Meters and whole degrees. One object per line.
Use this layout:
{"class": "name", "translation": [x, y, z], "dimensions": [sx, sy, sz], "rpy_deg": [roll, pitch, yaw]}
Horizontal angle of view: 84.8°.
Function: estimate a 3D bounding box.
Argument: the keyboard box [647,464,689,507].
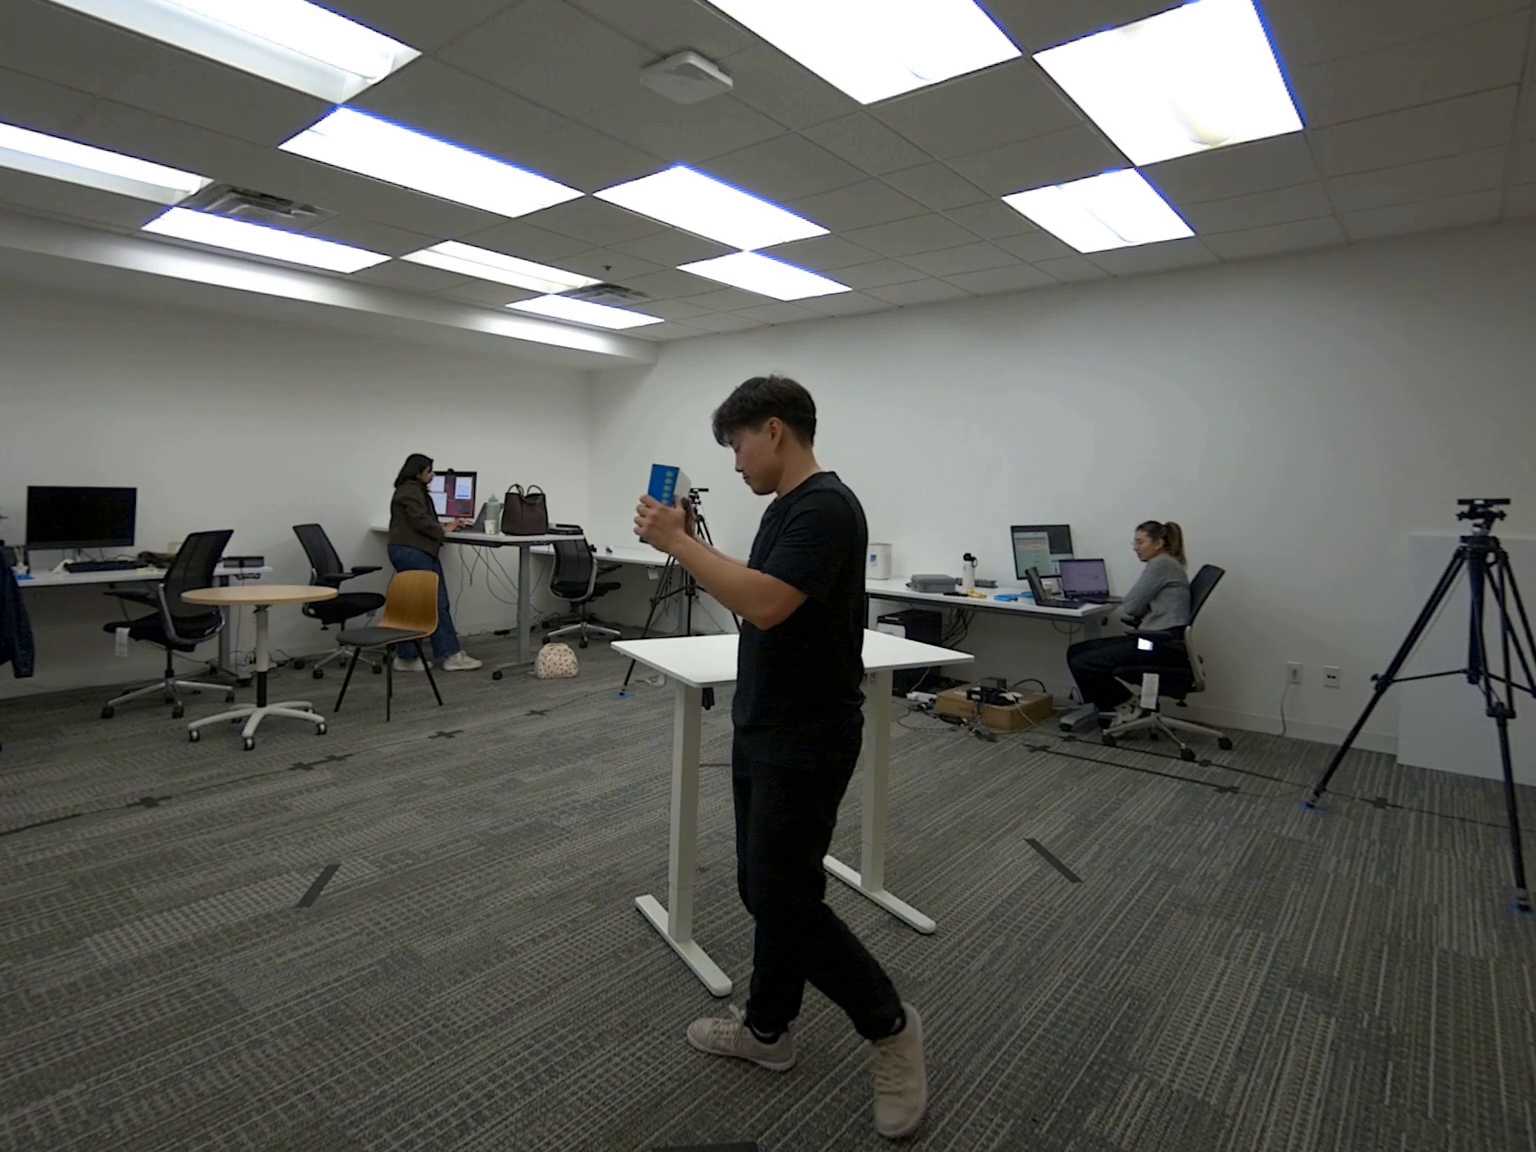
{"class": "keyboard box", "translation": [-0.232, -0.147, 1.974], "dimensions": [0.059, 0.176, 0.438], "rpy_deg": [8, 2, -4]}
